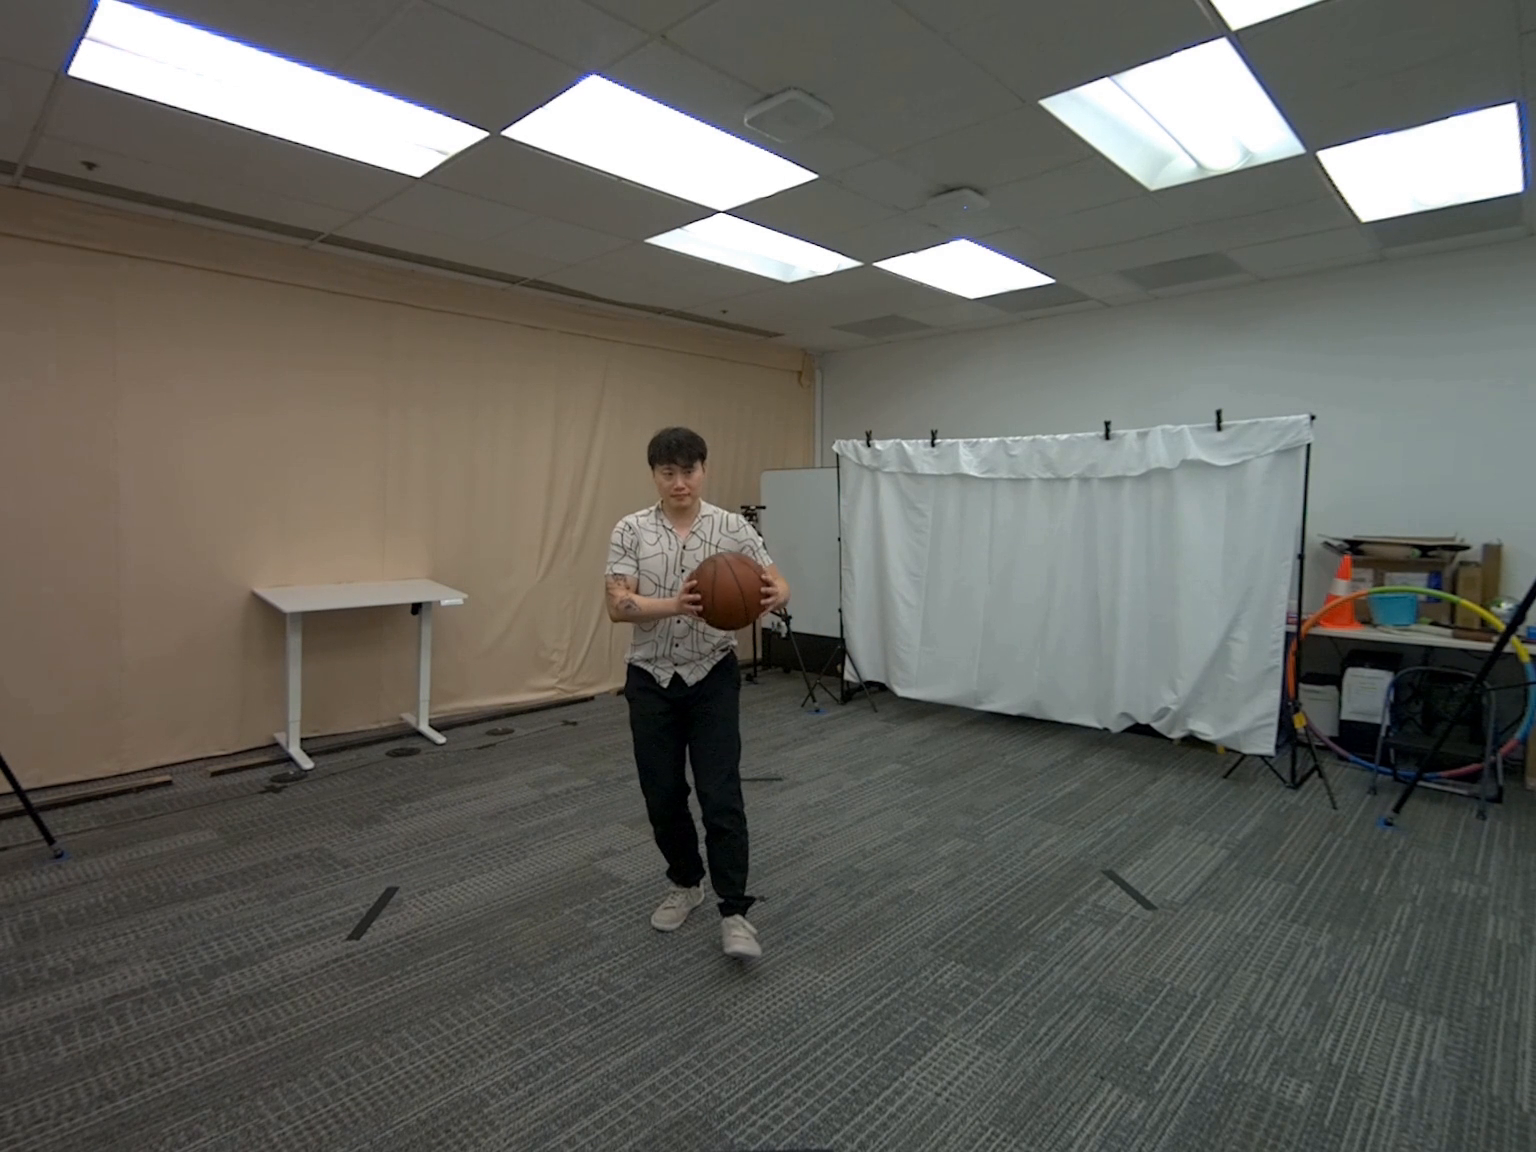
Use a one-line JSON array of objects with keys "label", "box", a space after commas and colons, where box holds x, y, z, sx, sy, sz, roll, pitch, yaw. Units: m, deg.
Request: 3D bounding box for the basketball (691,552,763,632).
[{"label": "basketball", "box": [-0.123, 0.061, 2.528, 0.236, 0.235, 0.237, 0, 4, -2]}]
